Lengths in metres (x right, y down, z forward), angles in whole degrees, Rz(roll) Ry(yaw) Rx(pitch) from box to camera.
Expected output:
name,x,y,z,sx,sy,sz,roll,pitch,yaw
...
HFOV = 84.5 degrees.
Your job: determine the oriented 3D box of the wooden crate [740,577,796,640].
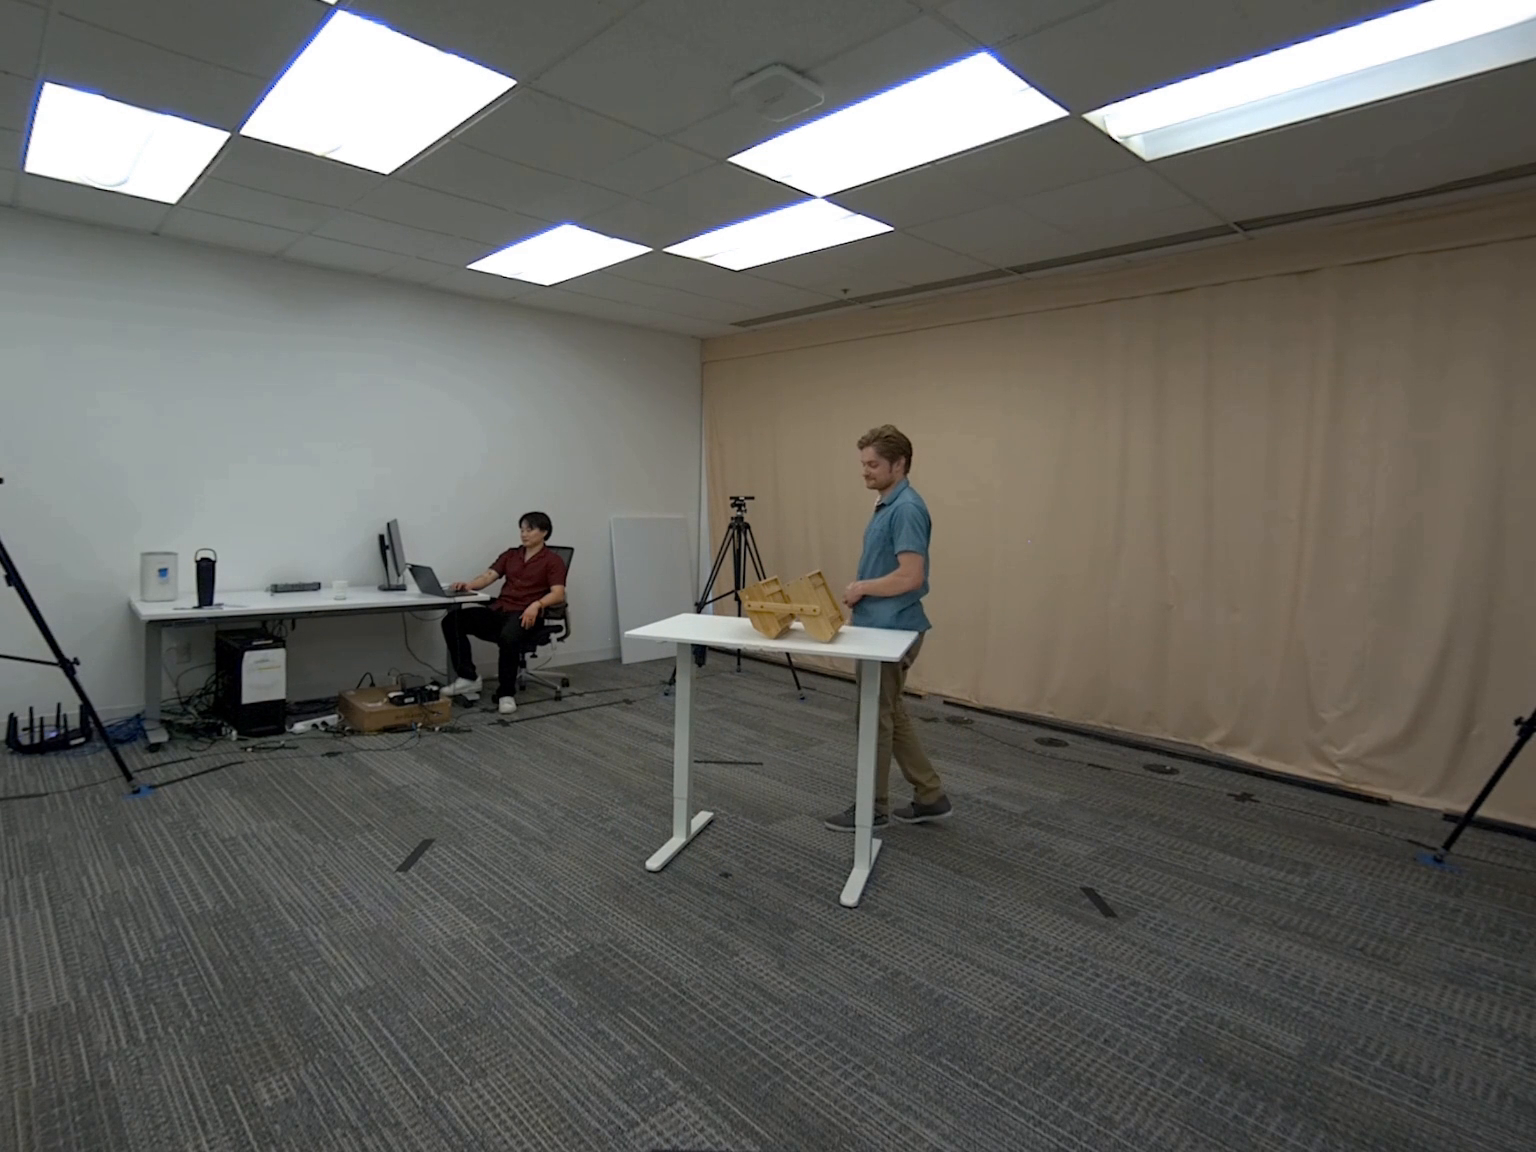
name,x,y,z,sx,sy,sz,roll,pitch,yaw
wooden crate,0.084,0.131,3.170,0.275,0.303,0.321,-25,-3,15
